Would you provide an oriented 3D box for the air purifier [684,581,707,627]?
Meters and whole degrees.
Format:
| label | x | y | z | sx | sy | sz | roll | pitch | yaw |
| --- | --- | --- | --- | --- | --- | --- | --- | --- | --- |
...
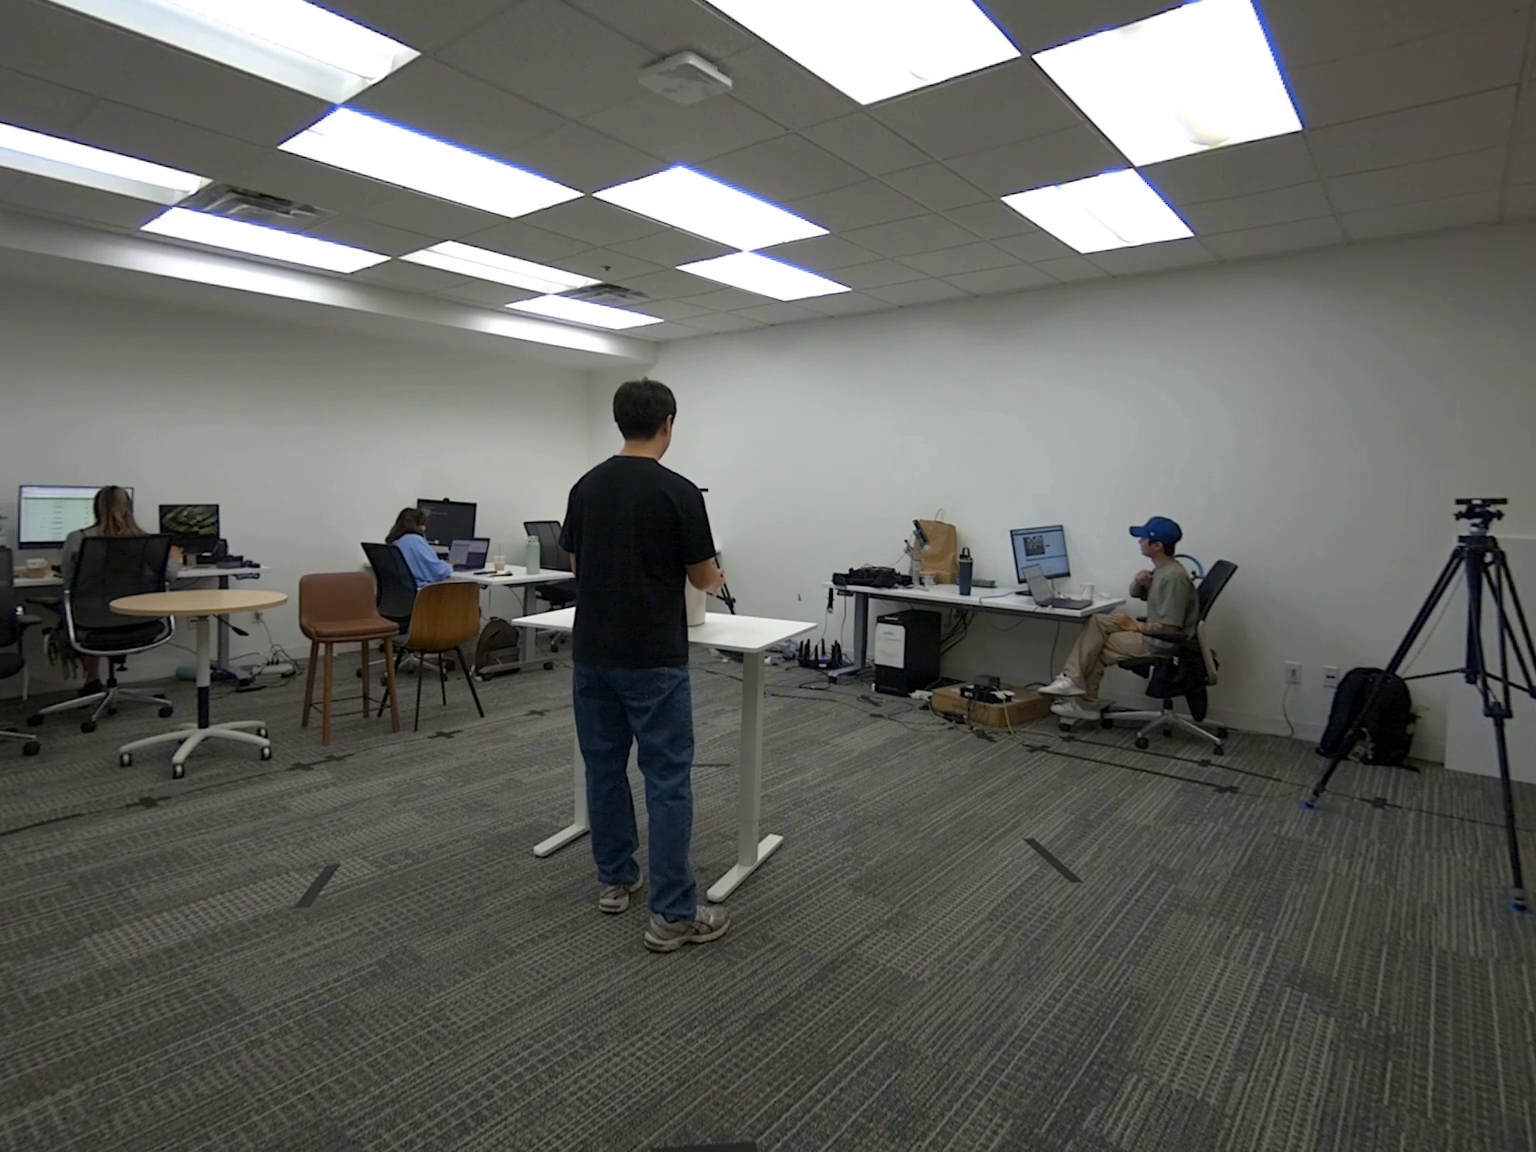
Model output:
| label | x | y | z | sx | sy | sz | roll | pitch | yaw |
| --- | --- | --- | --- | --- | --- | --- | --- | --- | --- |
| air purifier | -0.328 | 0.043 | 3.199 | 0.175 | 0.264 | 0.169 | 3 | 5 | 18 |
